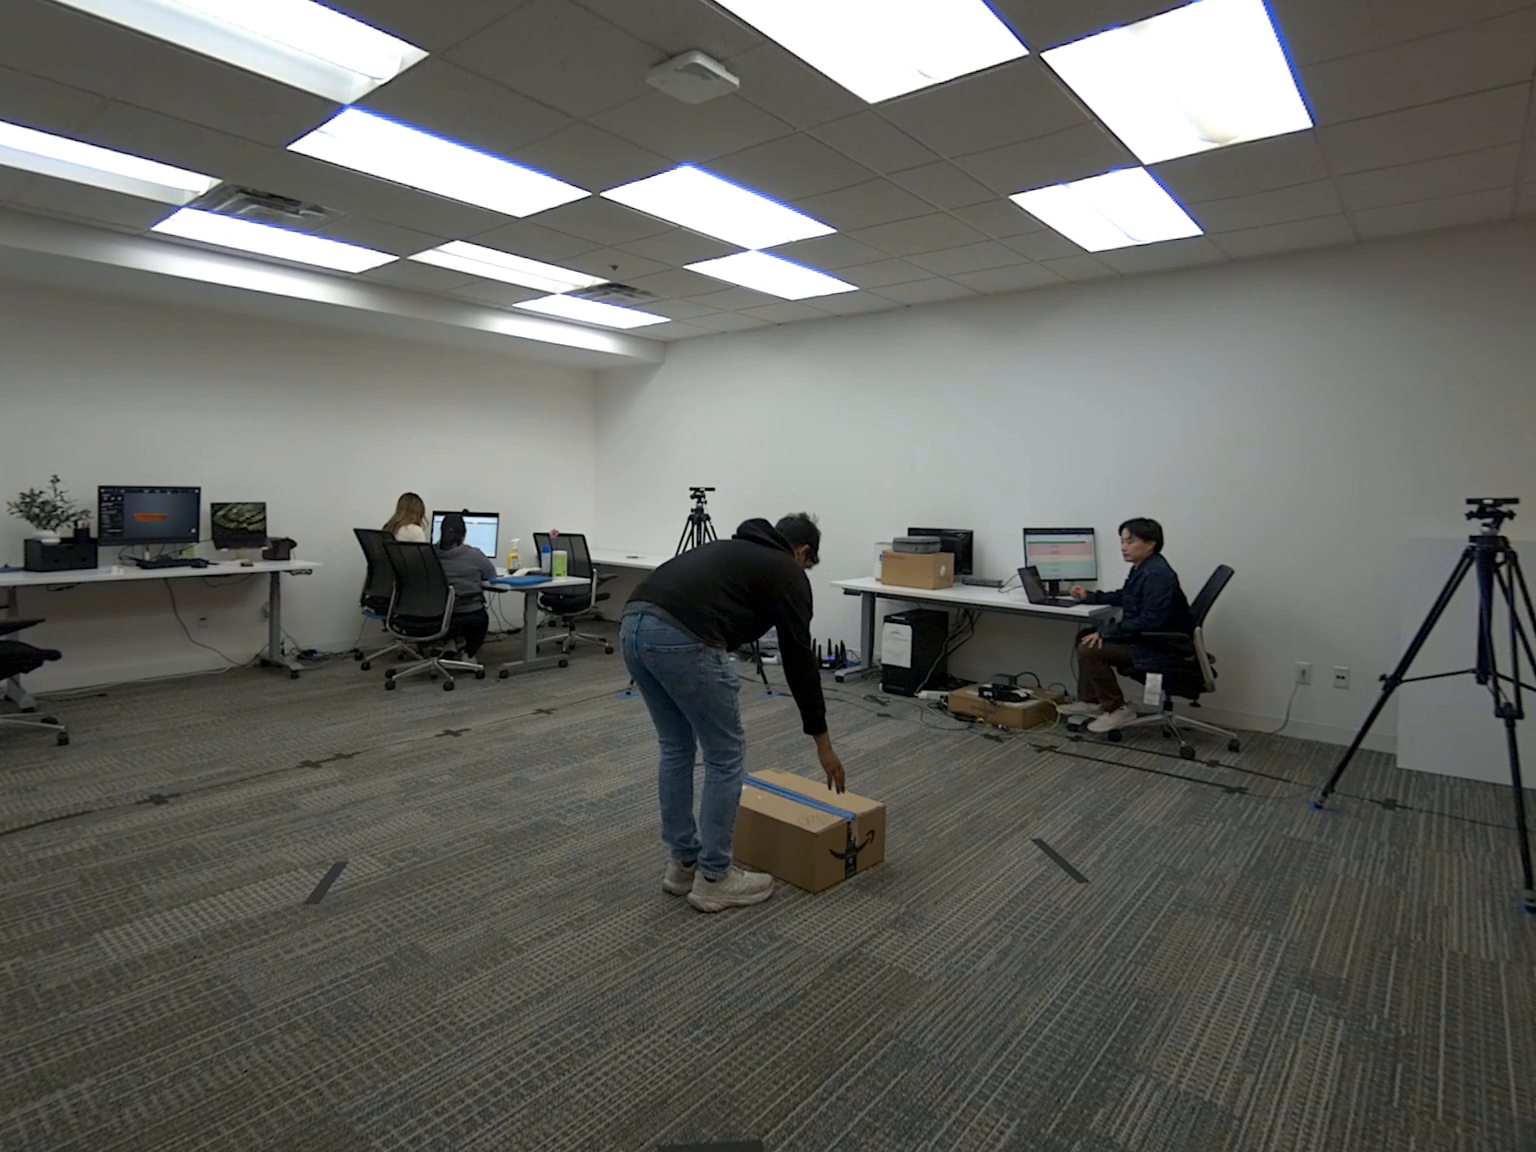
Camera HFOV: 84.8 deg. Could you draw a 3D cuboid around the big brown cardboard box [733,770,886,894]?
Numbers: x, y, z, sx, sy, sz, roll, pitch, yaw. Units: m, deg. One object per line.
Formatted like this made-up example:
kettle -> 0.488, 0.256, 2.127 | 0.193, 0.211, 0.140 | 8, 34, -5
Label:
big brown cardboard box -> 0.083, 0.951, 3.253 | 0.610, 0.232, 0.405 | 7, 8, 43
